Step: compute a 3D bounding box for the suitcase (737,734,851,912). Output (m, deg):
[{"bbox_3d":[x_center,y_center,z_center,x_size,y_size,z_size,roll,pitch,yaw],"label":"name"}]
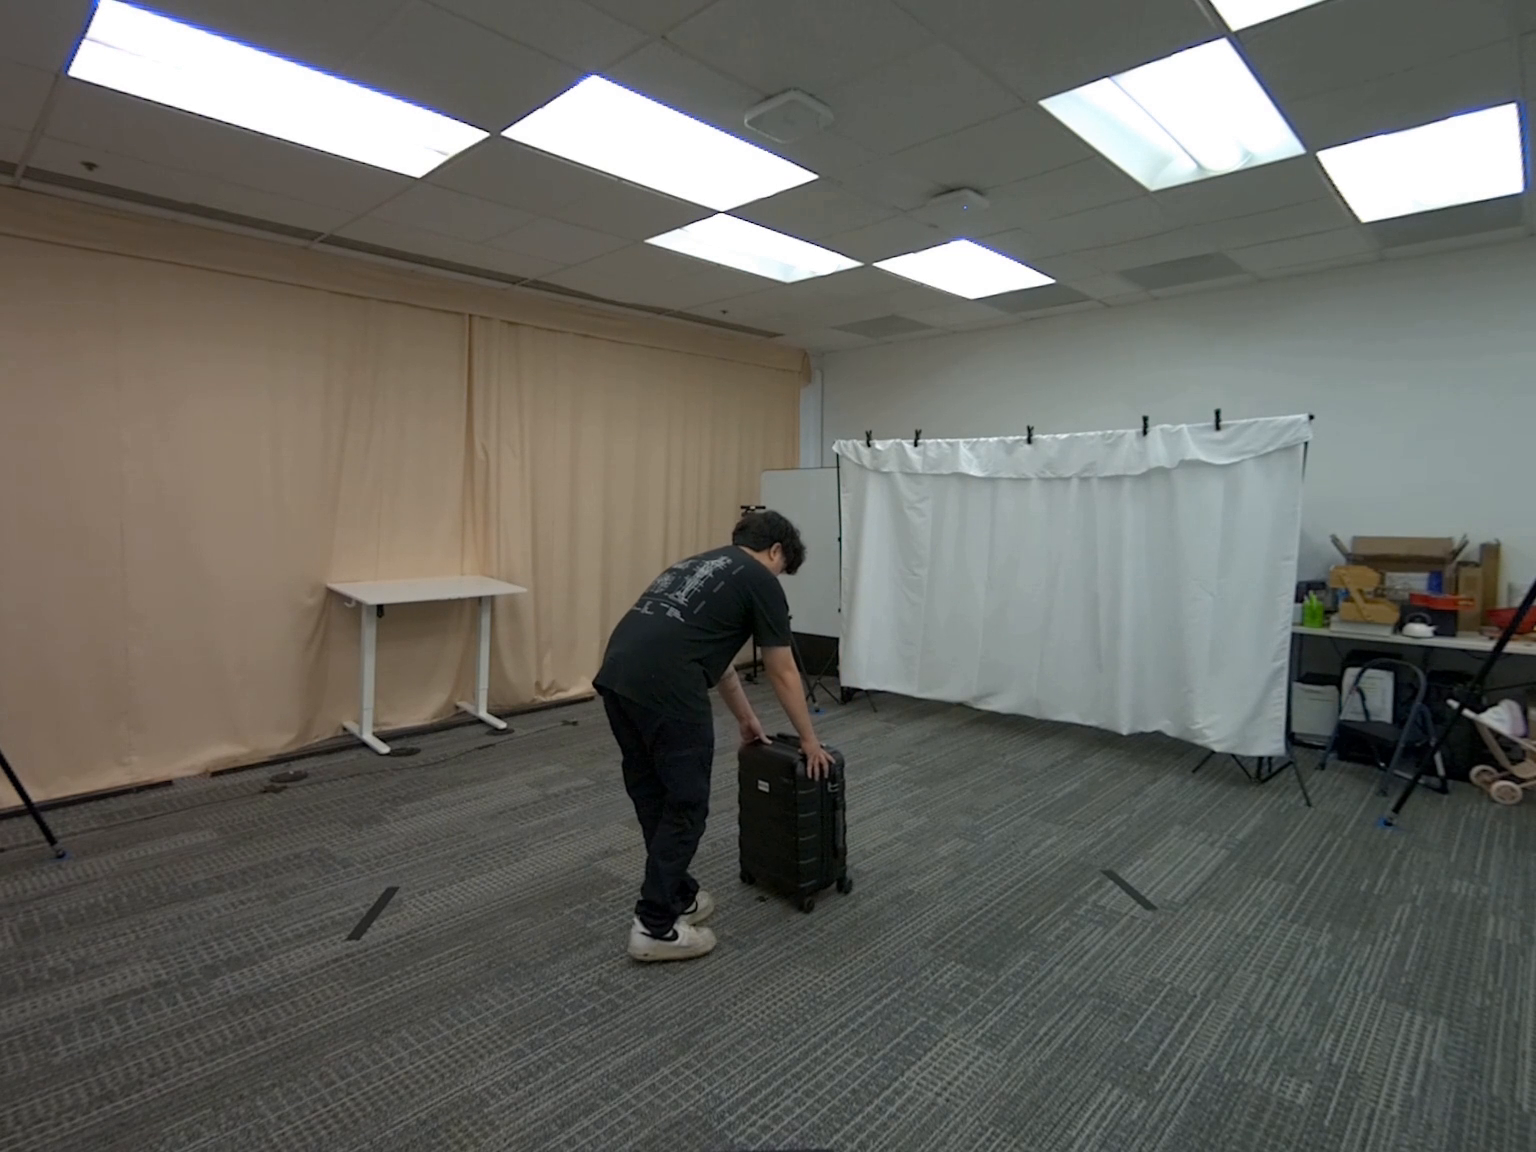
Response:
[{"bbox_3d":[0.093,0.868,3.041,0.241,0.547,0.388,-6,7,-42],"label":"suitcase"}]
